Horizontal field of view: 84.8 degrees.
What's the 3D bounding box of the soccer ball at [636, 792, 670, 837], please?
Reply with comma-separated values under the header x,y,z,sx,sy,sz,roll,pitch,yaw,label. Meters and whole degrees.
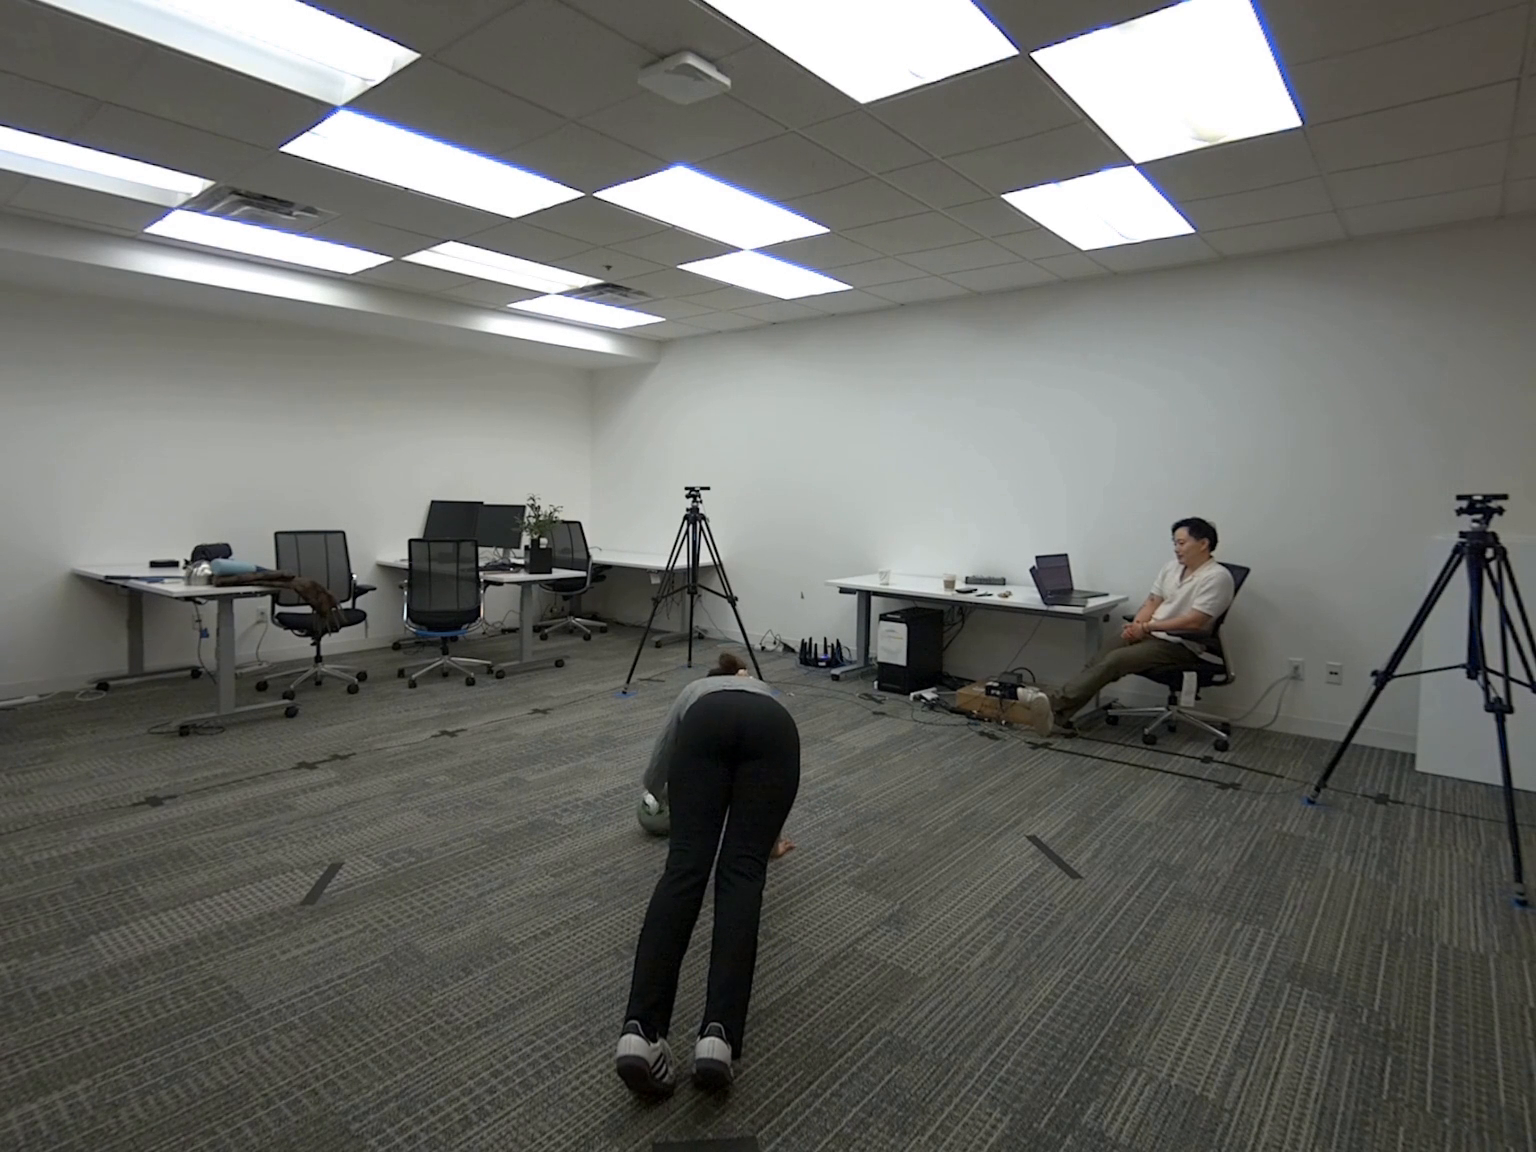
x,y,z,sx,sy,sz,roll,pitch,yaw,label
-0.444,0.937,3.411,0.187,0.187,0.188,1,4,-2,soccer ball
